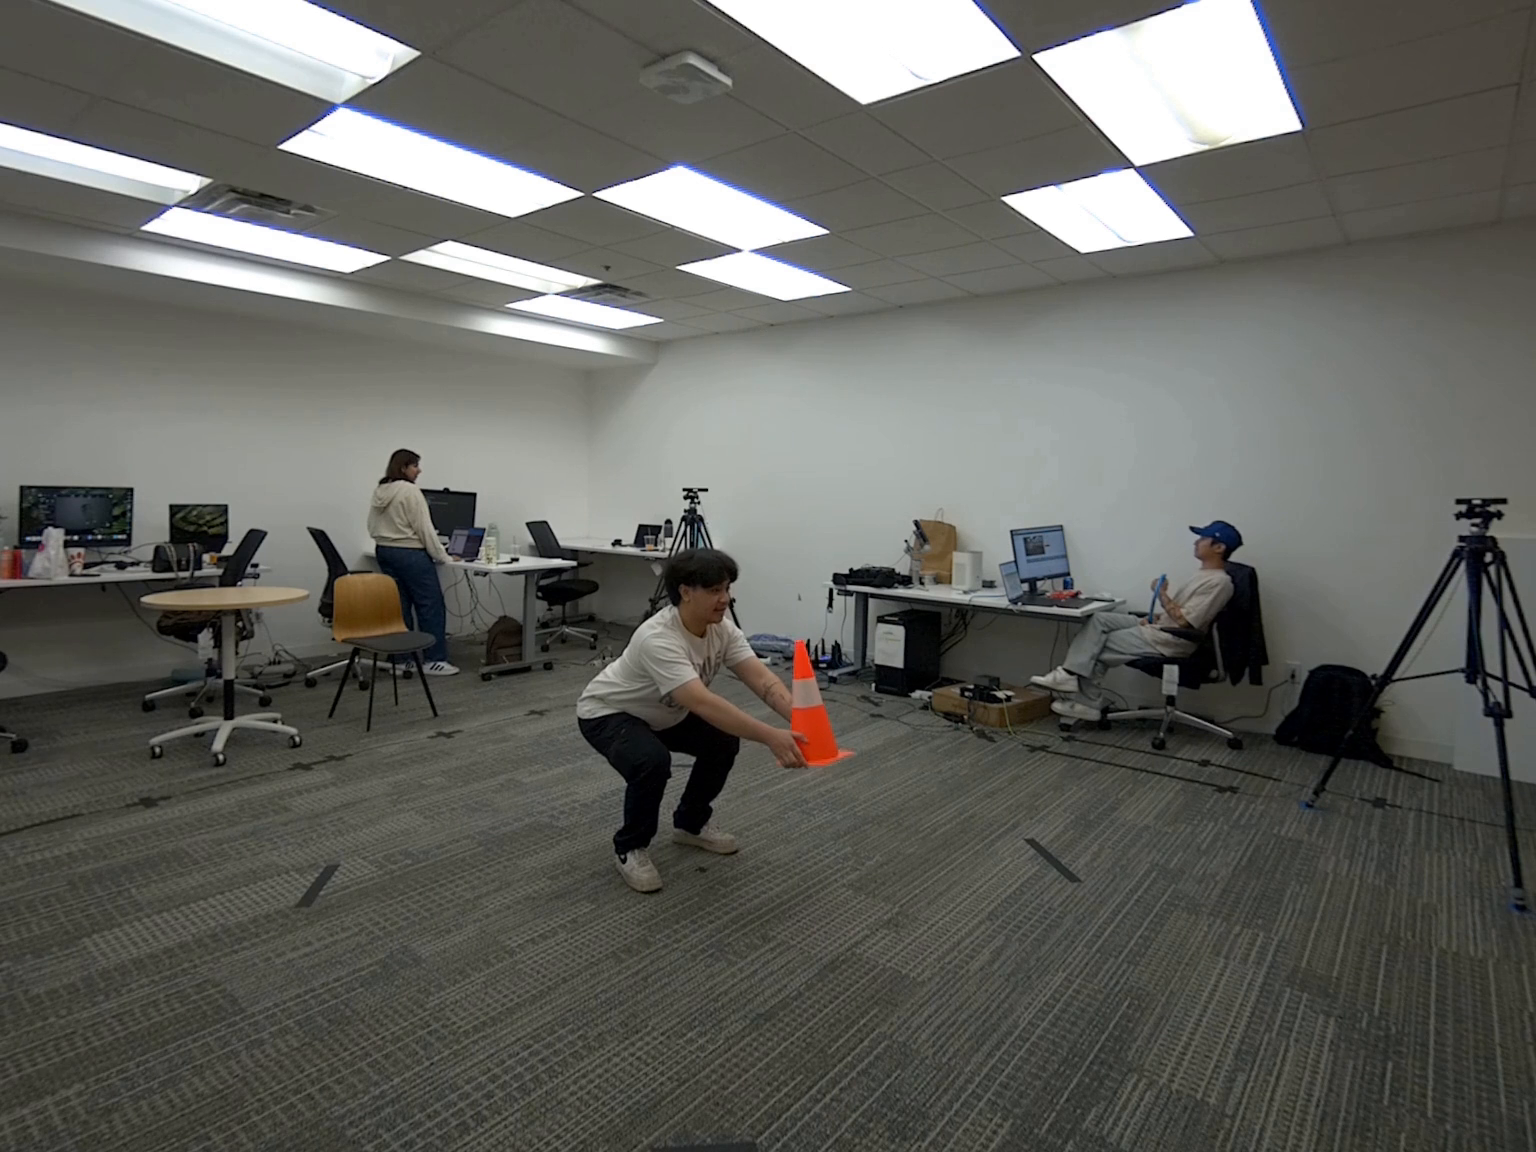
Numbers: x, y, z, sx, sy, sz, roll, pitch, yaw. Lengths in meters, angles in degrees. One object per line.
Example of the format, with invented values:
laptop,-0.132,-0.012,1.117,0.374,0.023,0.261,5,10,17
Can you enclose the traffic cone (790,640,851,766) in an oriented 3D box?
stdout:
traffic cone,0.126,0.397,2.772,0.208,0.385,0.199,-8,-3,30
